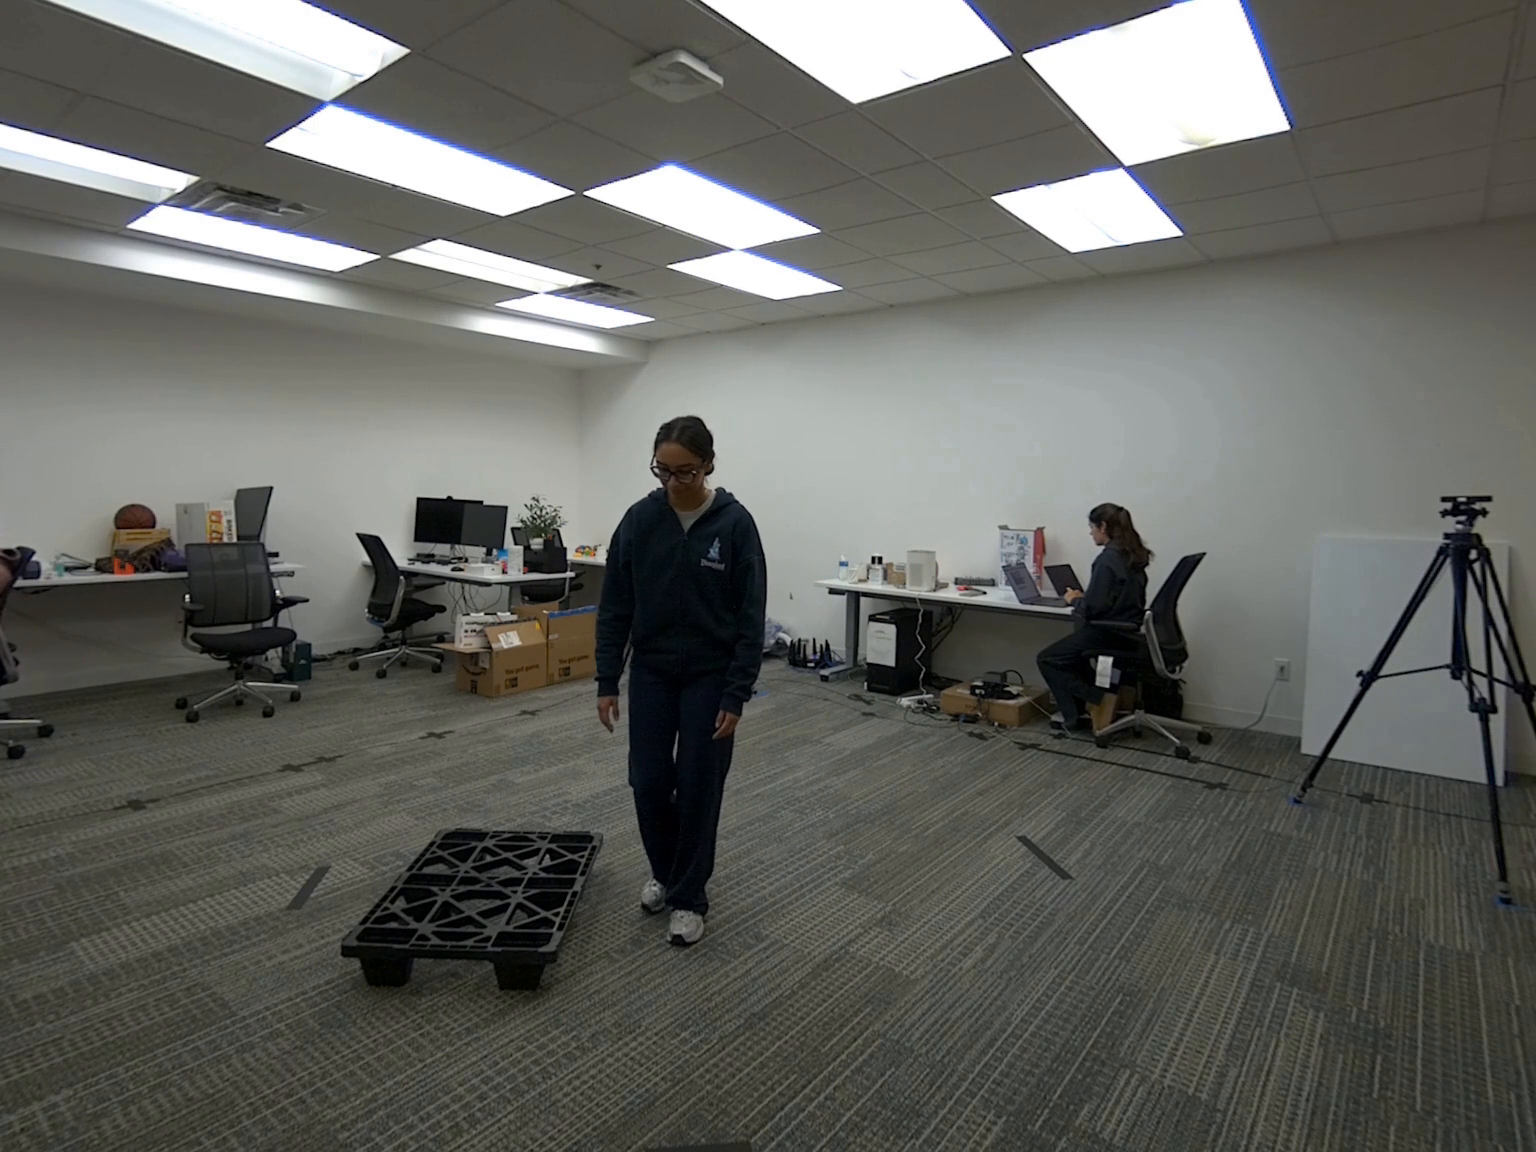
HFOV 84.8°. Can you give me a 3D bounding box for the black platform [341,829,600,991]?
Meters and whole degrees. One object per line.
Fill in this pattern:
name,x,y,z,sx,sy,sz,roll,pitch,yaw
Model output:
black platform,-0.897,1.029,2.703,0.605,0.143,0.809,0,6,-1
